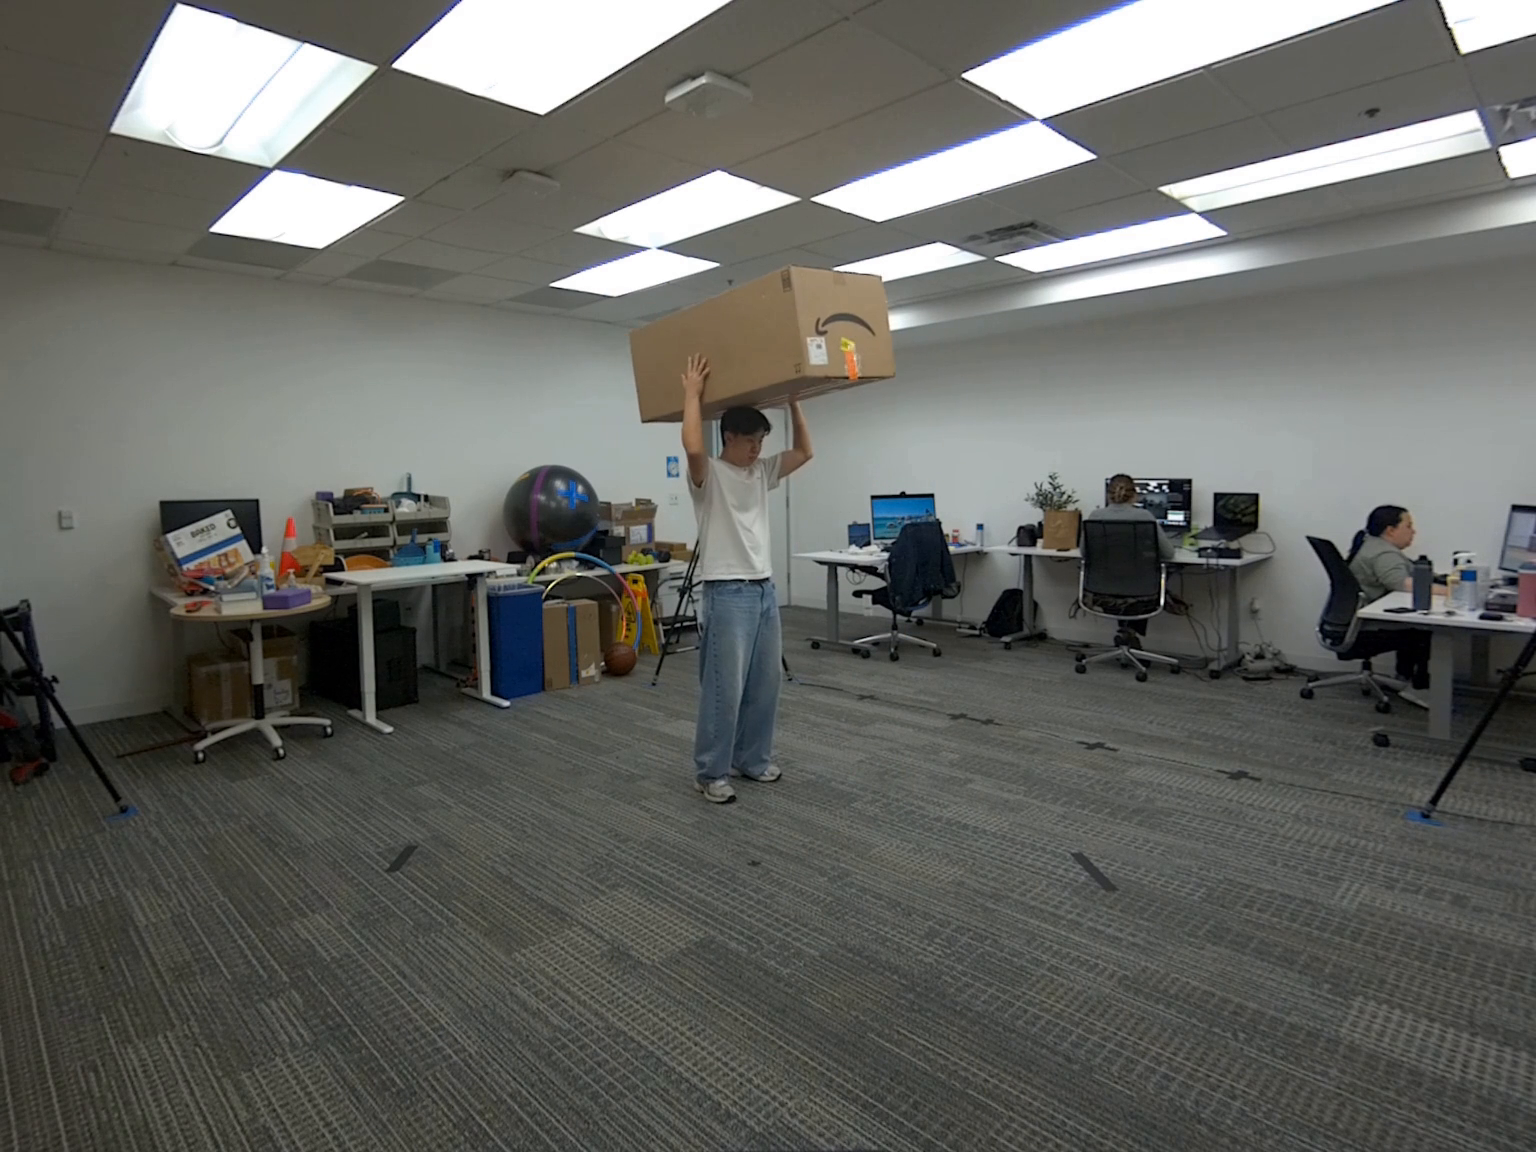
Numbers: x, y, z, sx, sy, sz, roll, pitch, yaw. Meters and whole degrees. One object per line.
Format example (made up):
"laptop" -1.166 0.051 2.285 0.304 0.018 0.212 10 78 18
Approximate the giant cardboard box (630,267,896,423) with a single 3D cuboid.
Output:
"giant cardboard box" -0.049 -0.962 3.741 0.564 0.425 1.053 -12 6 -43
